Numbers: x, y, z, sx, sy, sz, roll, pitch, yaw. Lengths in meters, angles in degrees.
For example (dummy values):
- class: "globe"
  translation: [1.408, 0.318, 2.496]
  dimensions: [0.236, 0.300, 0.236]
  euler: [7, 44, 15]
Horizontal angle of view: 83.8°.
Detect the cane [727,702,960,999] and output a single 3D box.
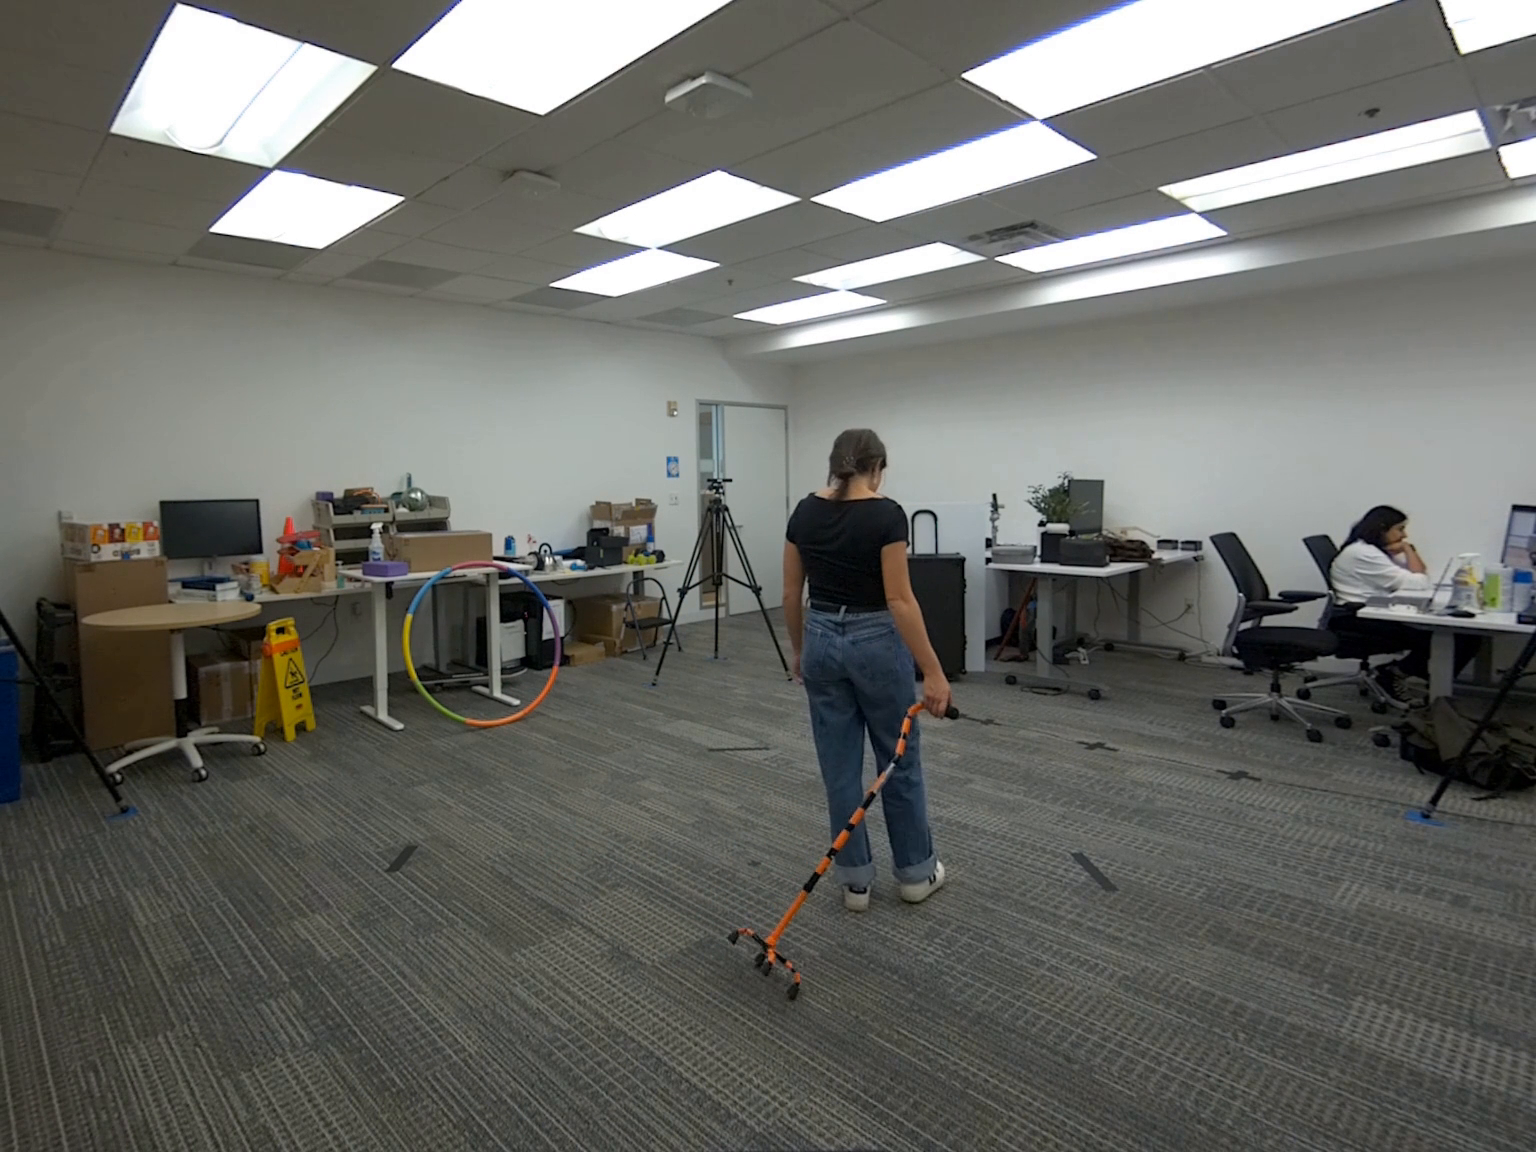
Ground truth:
- class: "cane"
  translation: [0.254, 0.740, 2.473]
  dimensions: [0.147, 0.909, 0.212]
  euler: [45, -16, -24]
